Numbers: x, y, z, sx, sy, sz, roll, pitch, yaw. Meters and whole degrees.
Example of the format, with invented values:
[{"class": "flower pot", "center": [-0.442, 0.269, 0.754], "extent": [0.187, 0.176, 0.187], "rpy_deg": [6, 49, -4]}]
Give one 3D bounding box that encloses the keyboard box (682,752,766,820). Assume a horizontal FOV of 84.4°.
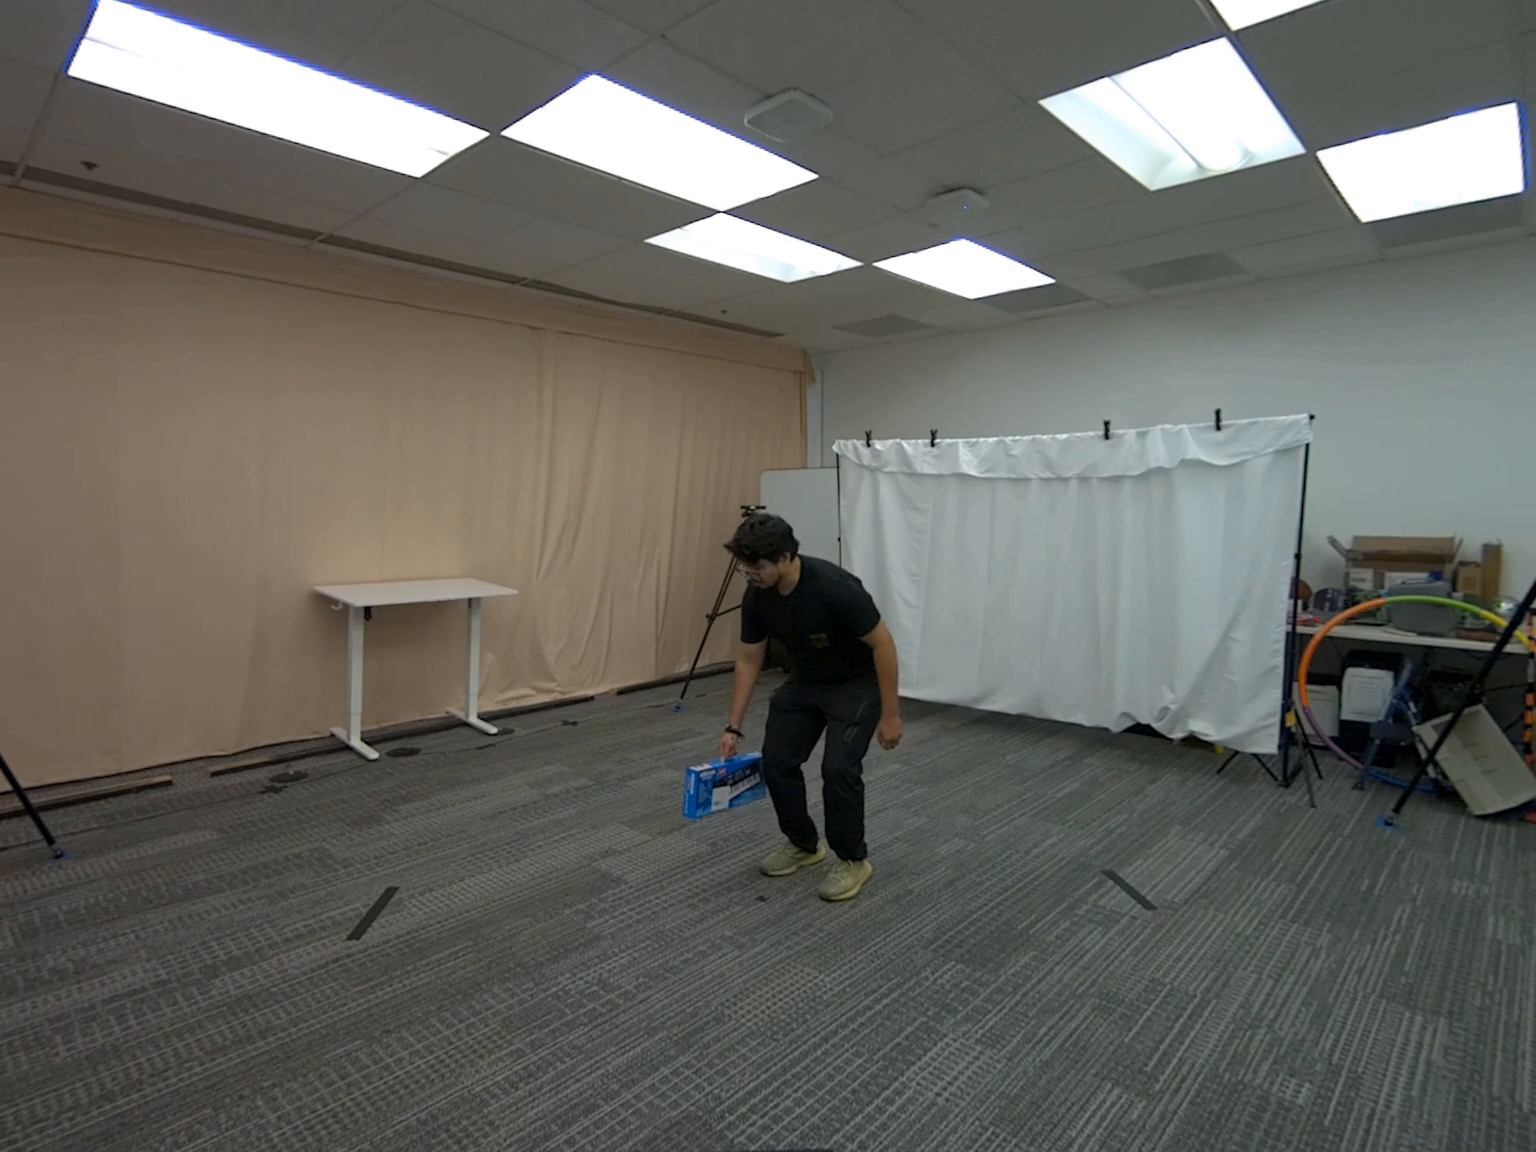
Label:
[{"class": "keyboard box", "center": [-0.149, 0.789, 3.186], "extent": [0.061, 0.176, 0.423], "rpy_deg": [3, 0, 37]}]
